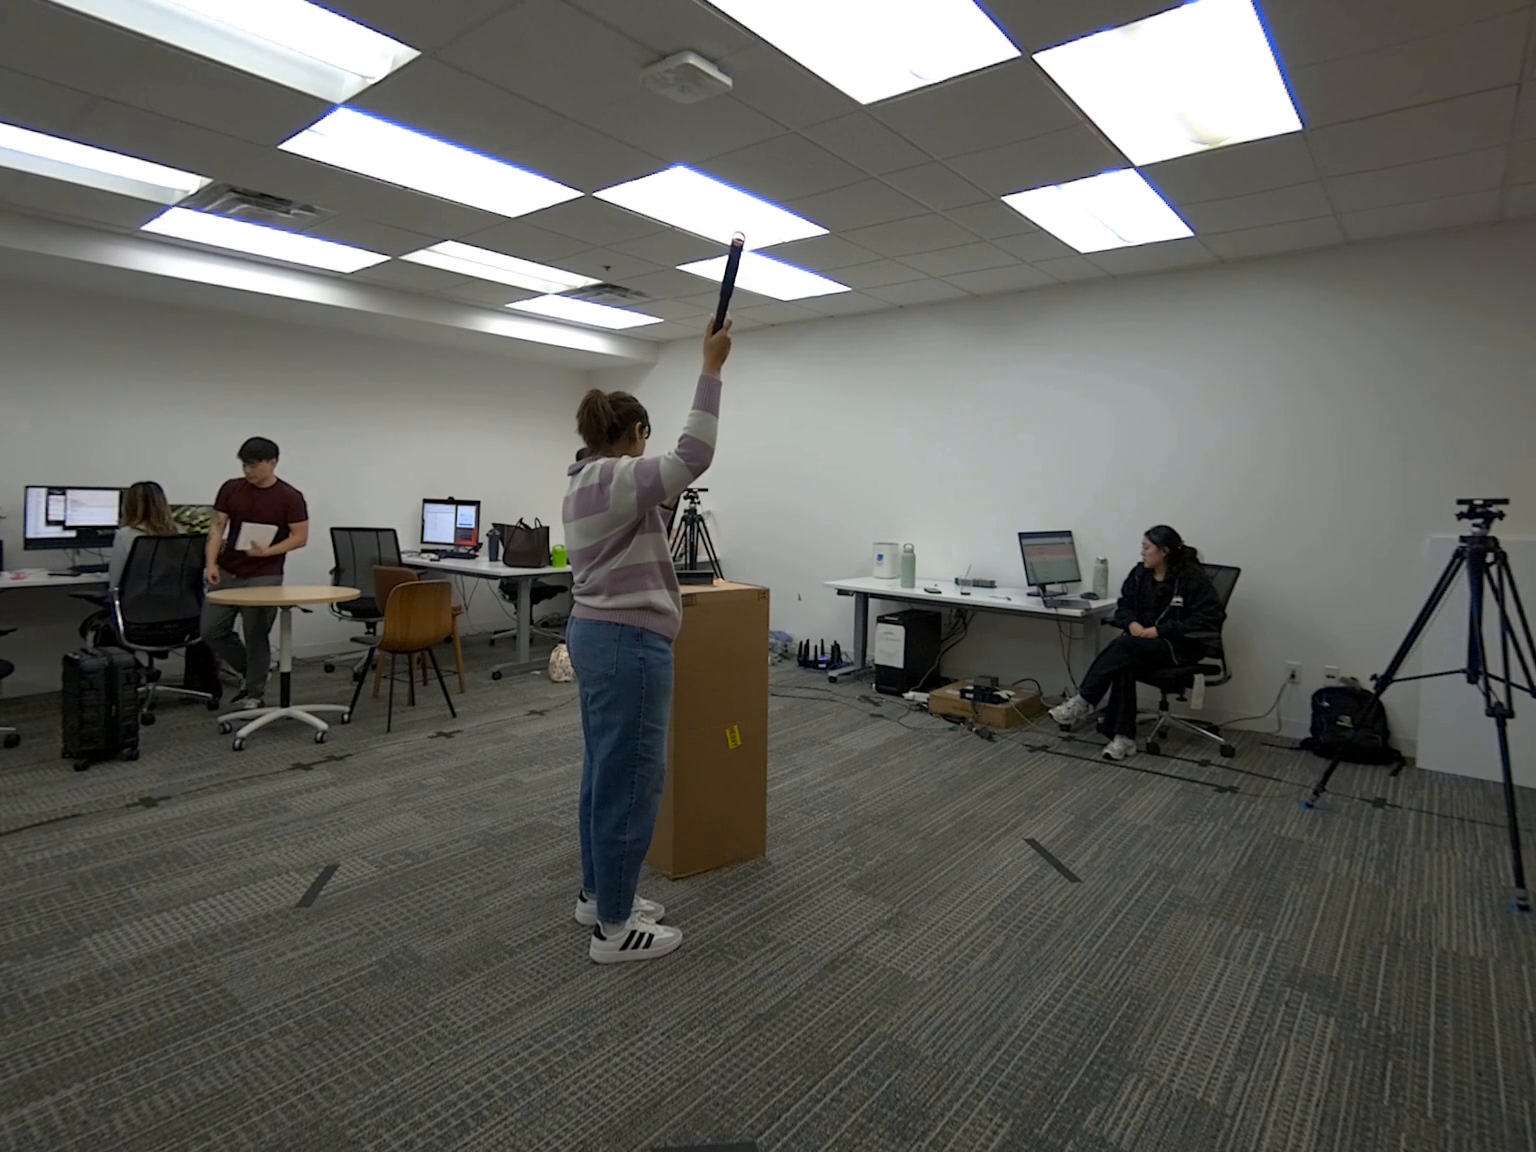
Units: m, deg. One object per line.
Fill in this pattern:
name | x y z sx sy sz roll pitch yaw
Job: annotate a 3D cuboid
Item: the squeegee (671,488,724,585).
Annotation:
squeegee | -0.220 -0.402 2.660 0.431 0.054 1.511 0 -35 -15
